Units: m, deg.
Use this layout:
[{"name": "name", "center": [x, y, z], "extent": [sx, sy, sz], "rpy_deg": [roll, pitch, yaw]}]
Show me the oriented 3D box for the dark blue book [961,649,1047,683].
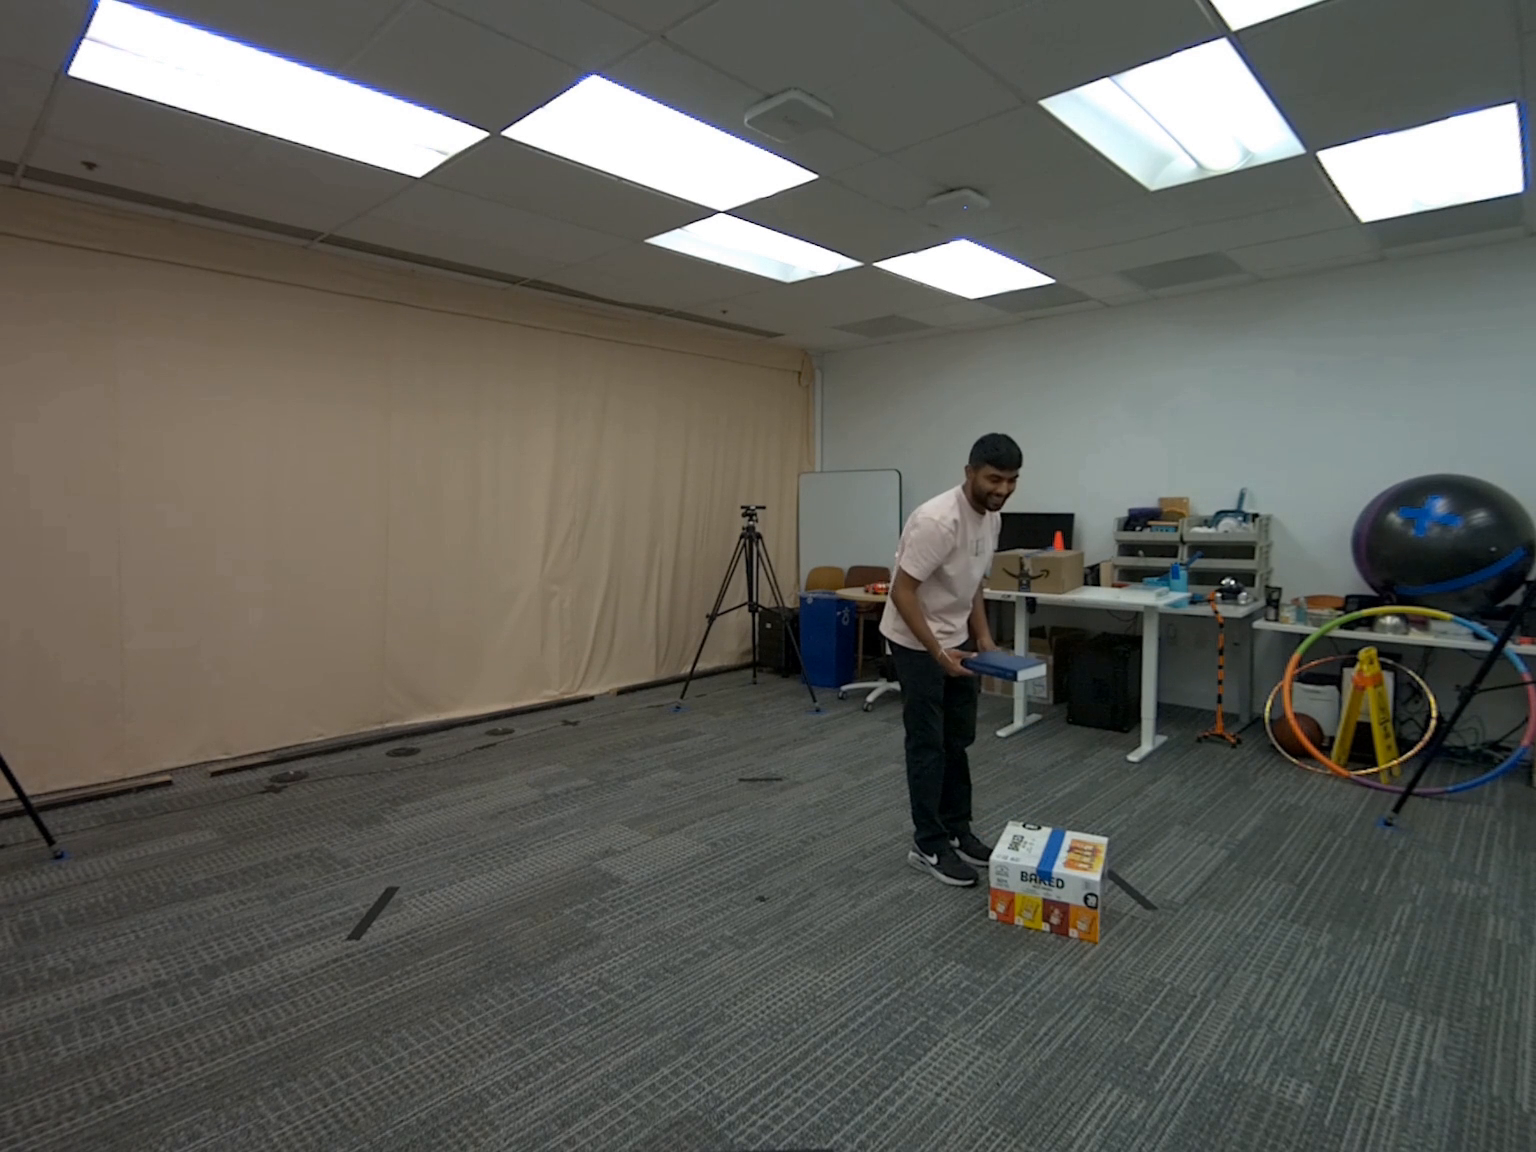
[{"name": "dark blue book", "center": [0.809, 0.313, 2.902], "extent": [0.159, 0.045, 0.253], "rpy_deg": [-7, 10, -33]}]
